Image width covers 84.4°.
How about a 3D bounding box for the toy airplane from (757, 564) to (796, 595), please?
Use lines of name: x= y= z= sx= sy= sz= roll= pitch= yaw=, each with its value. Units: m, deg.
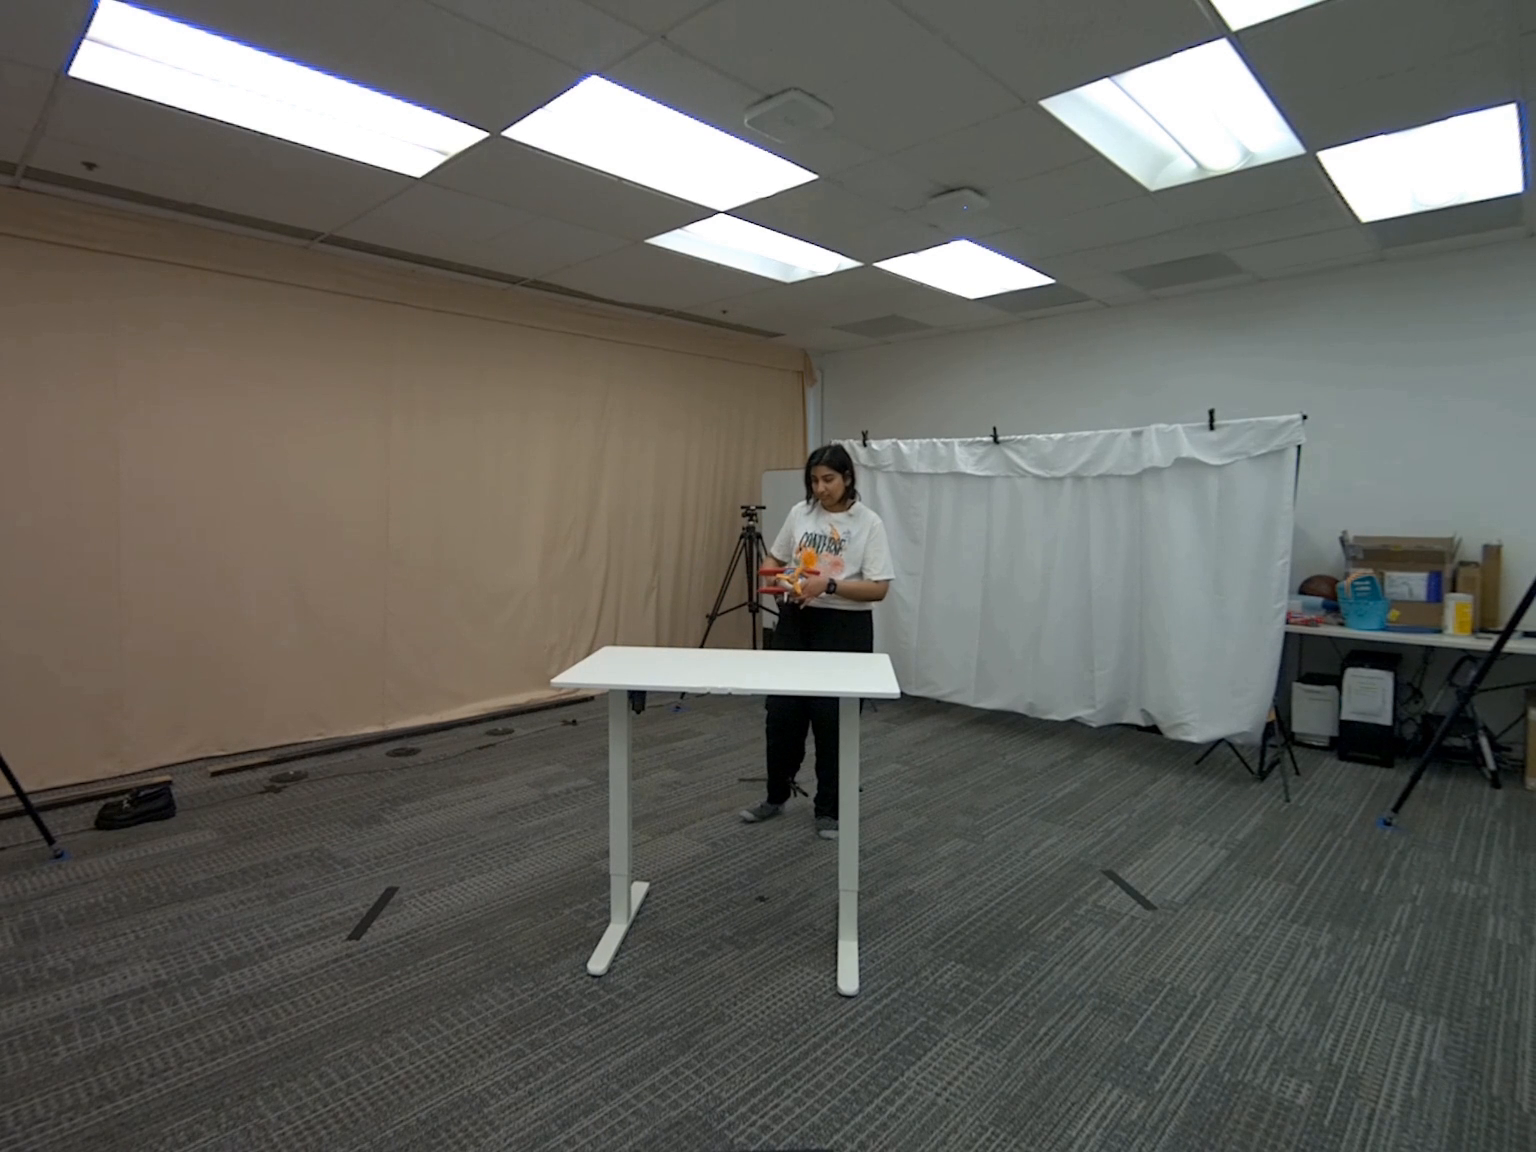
toy airplane: x=0.067 y=0.045 z=3.447 sx=0.244 sy=0.156 sz=0.266 roll=1 pitch=0 yaw=-31
